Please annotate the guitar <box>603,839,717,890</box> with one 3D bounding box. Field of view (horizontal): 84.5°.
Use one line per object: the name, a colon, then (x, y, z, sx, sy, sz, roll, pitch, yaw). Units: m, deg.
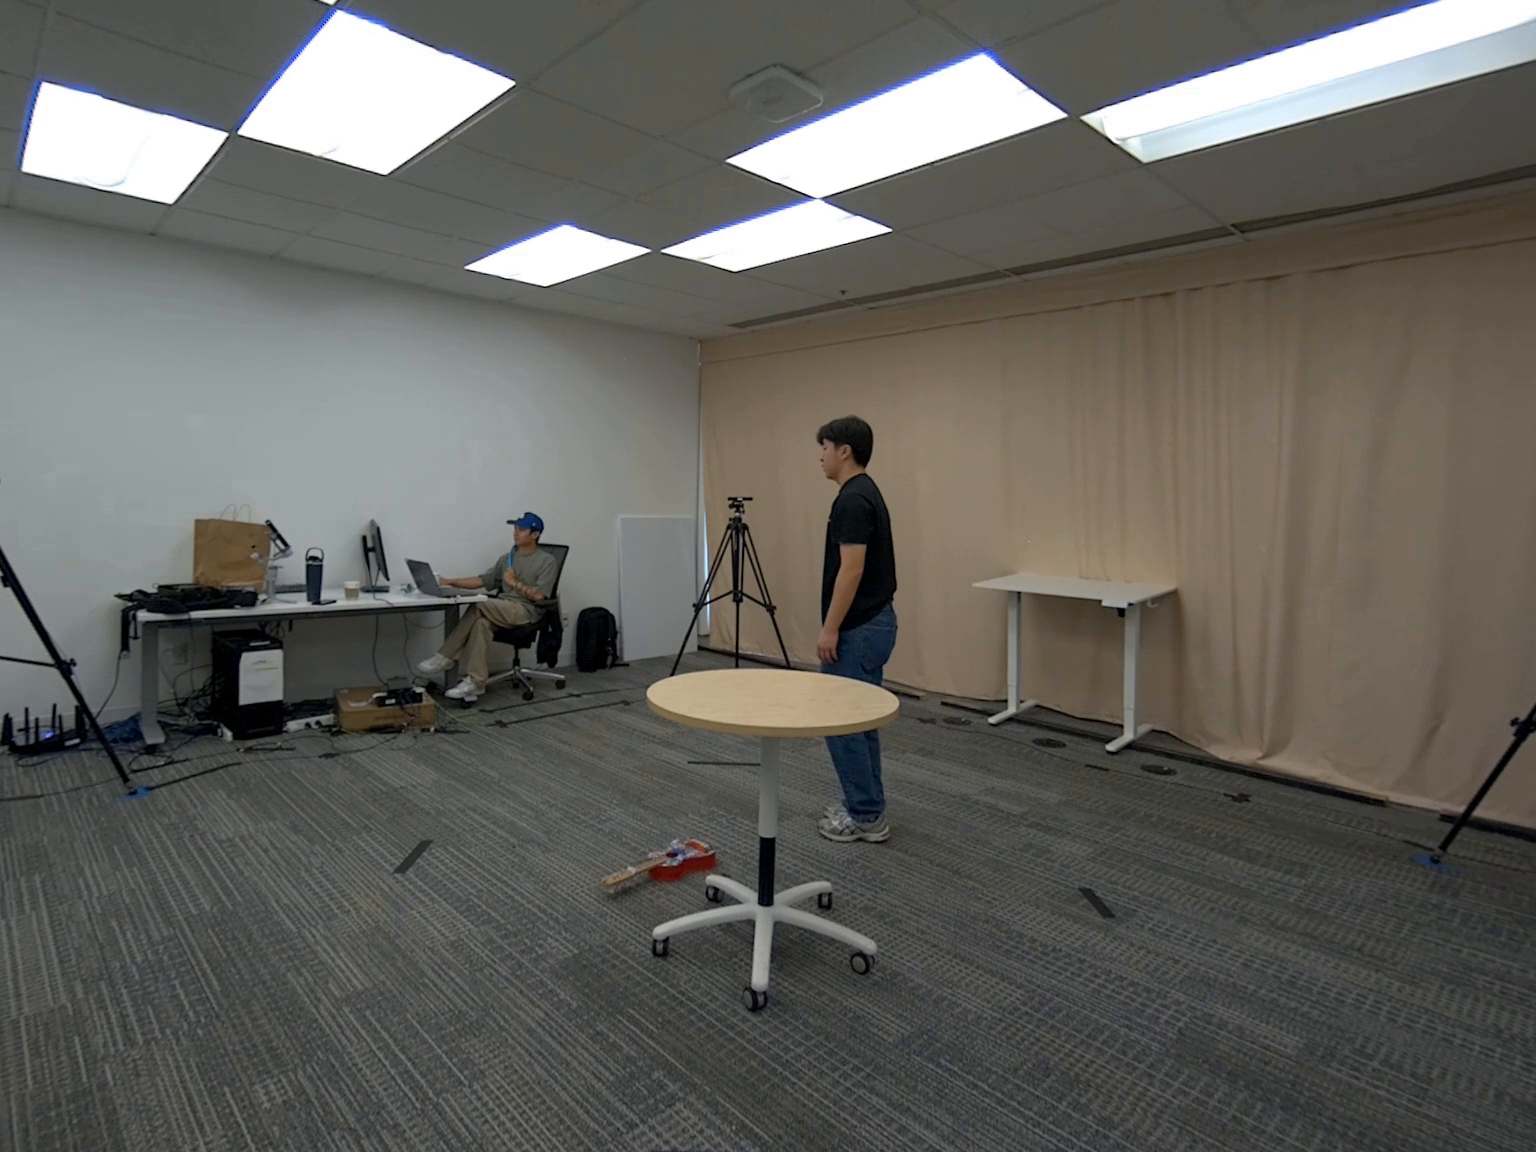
guitar: (-0.434, 1.068, 3.102, 0.486, 0.070, 0.198, -3, 7, -41)
